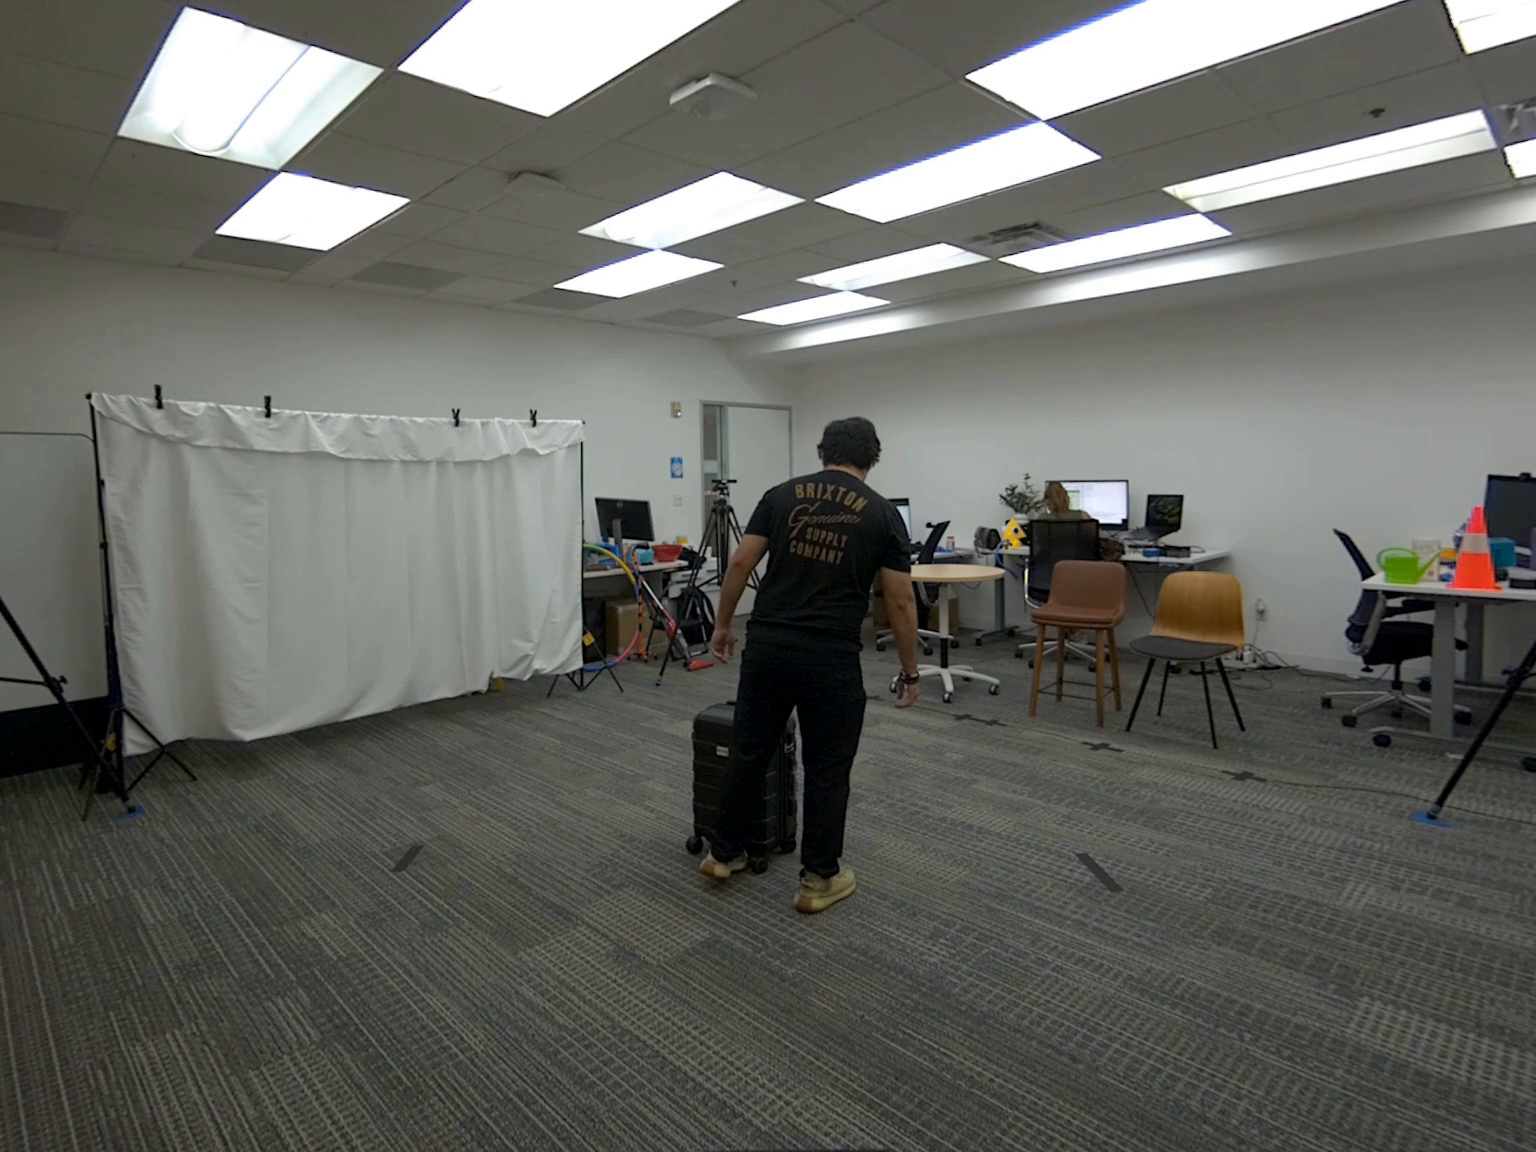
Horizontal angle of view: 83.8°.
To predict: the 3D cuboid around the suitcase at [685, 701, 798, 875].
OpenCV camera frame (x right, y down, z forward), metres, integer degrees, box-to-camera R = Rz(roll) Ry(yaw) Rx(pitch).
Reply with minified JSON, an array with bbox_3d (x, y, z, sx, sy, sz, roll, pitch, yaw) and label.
[{"bbox_3d":[-0.085,0.759,3.207,0.386,0.547,0.242,3,5,33],"label":"suitcase"}]
